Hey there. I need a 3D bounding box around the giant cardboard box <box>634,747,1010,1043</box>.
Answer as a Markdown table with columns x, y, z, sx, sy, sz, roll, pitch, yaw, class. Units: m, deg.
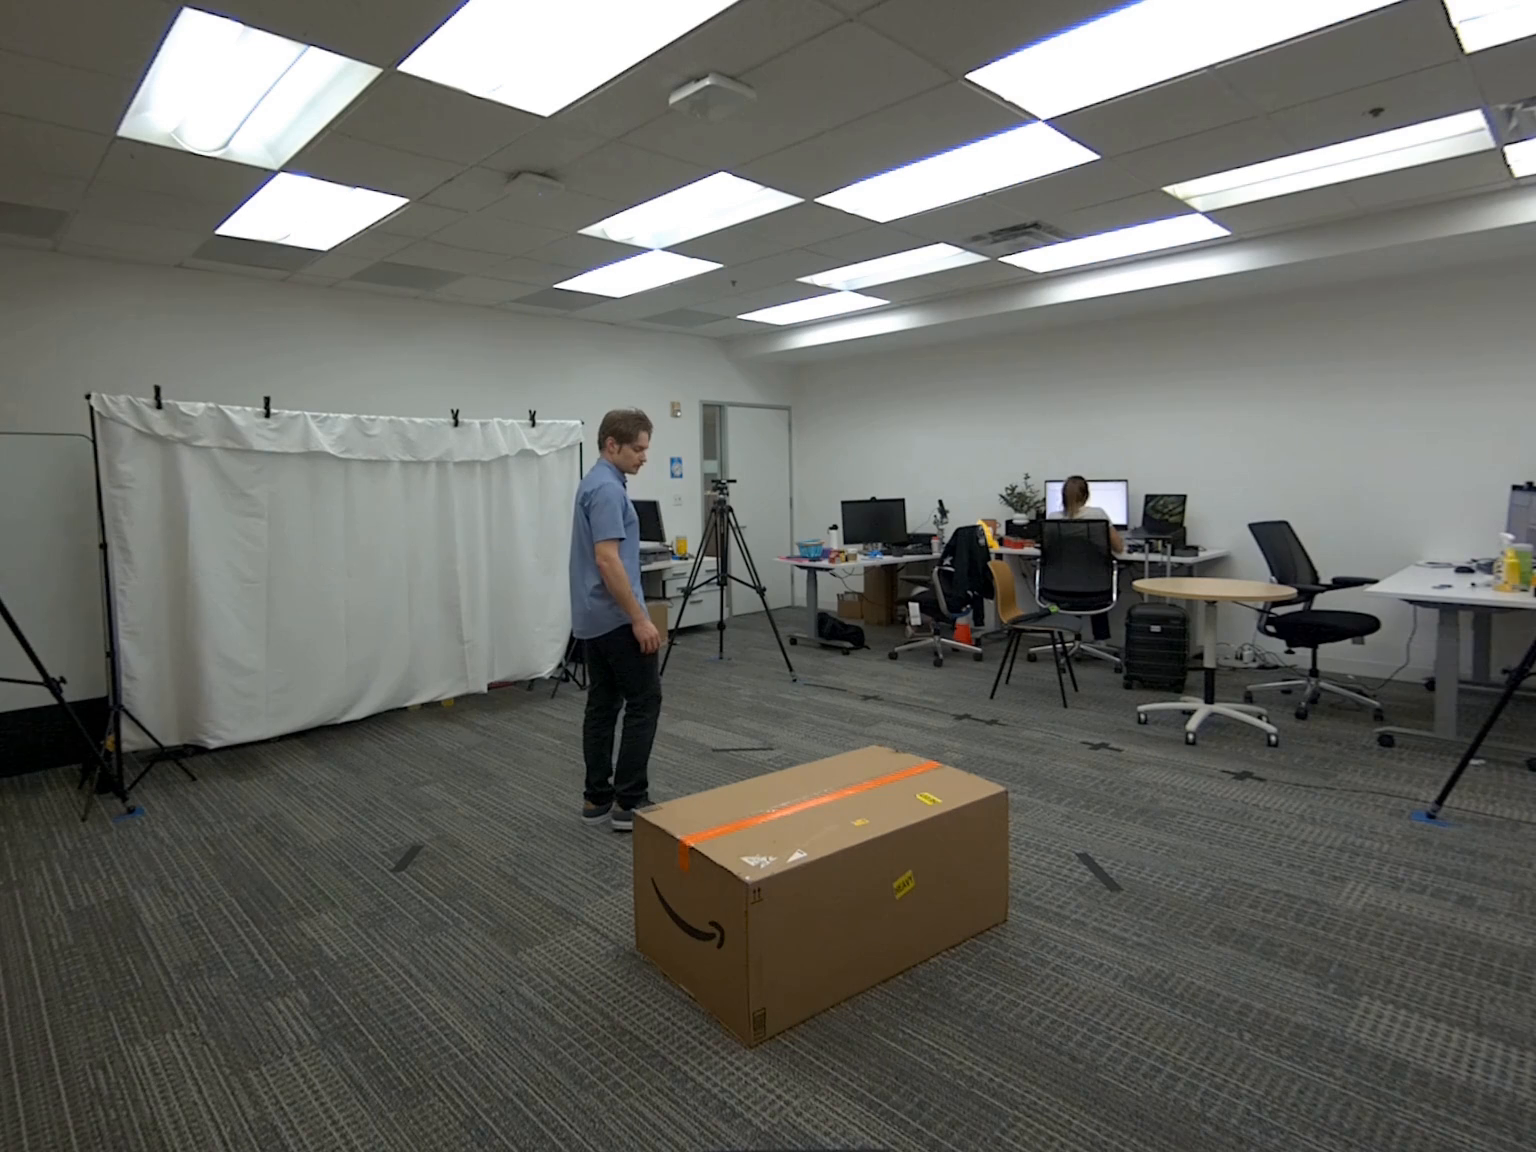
| x | y | z | sx | sy | sz | roll | pitch | yaw | class |
| --- | --- | --- | --- | --- | --- | --- | --- | --- | --- |
| 0.178 | 0.888 | 2.611 | 1.002 | 0.445 | 0.601 | -7 | 7 | -36 | giant cardboard box |
